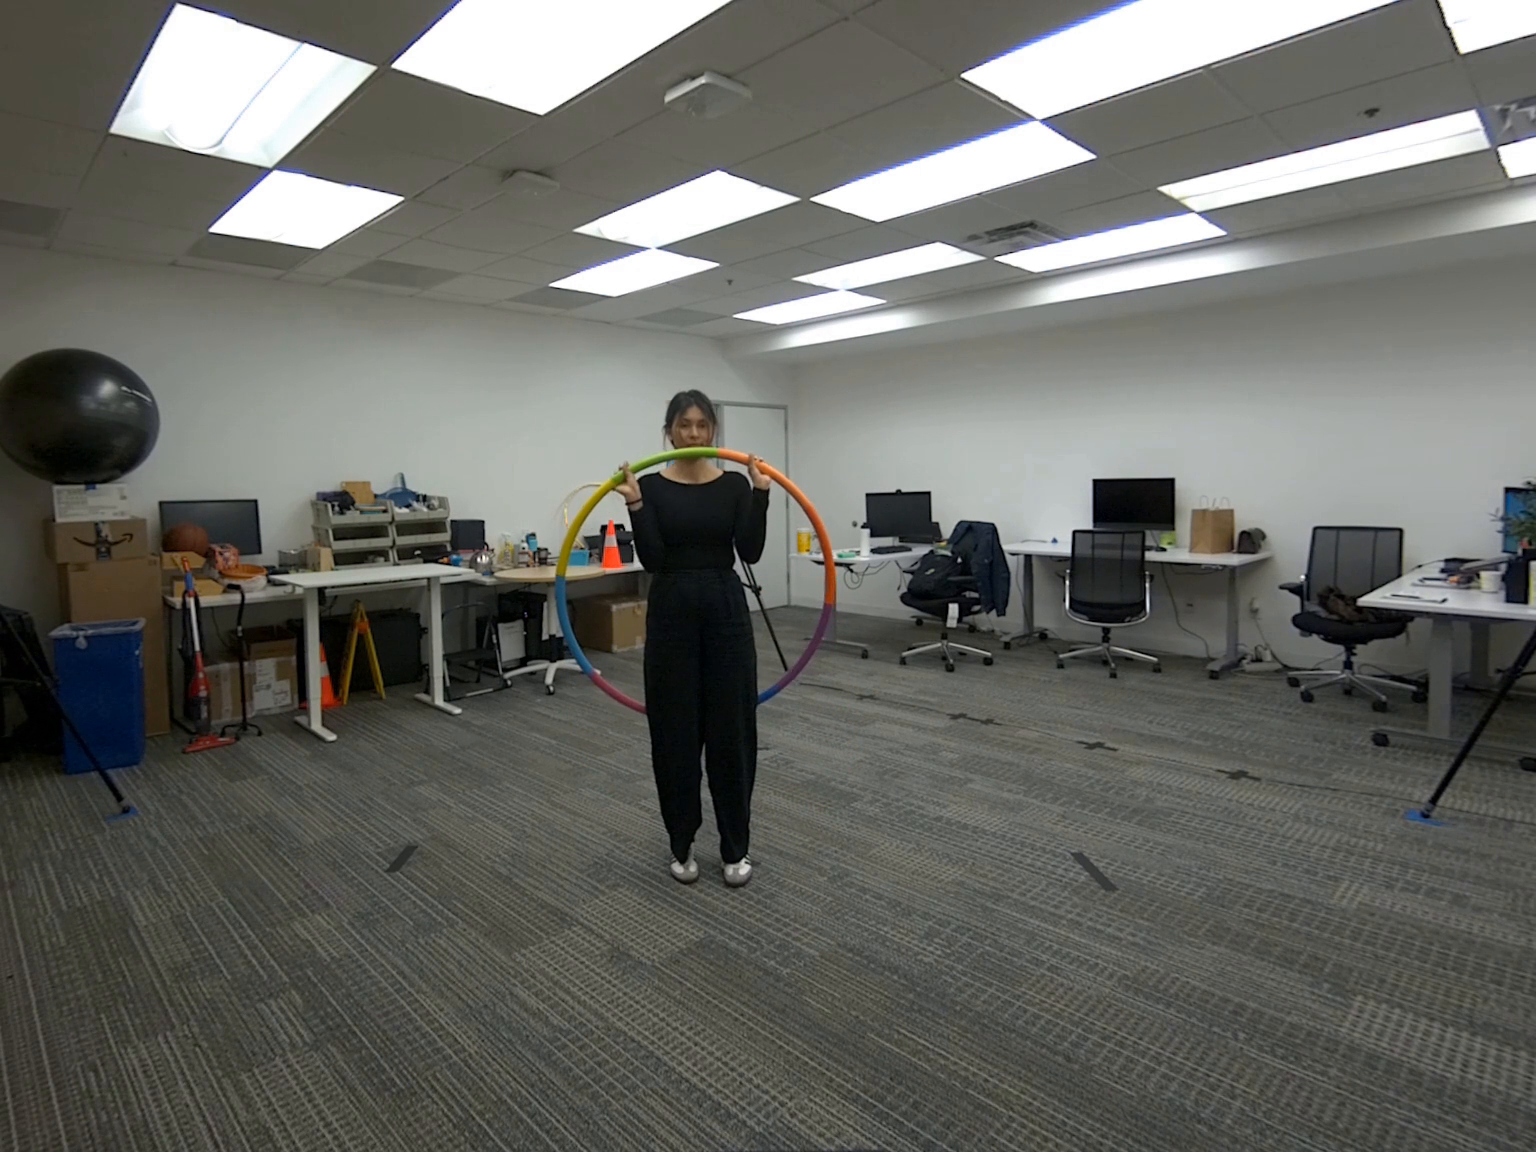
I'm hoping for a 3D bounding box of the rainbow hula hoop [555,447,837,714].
[{"bbox_3d":[-0.242,0.047,2.993,0.972,0.968,0.036,-1,12,-7],"label":"rainbow hula hoop"}]
